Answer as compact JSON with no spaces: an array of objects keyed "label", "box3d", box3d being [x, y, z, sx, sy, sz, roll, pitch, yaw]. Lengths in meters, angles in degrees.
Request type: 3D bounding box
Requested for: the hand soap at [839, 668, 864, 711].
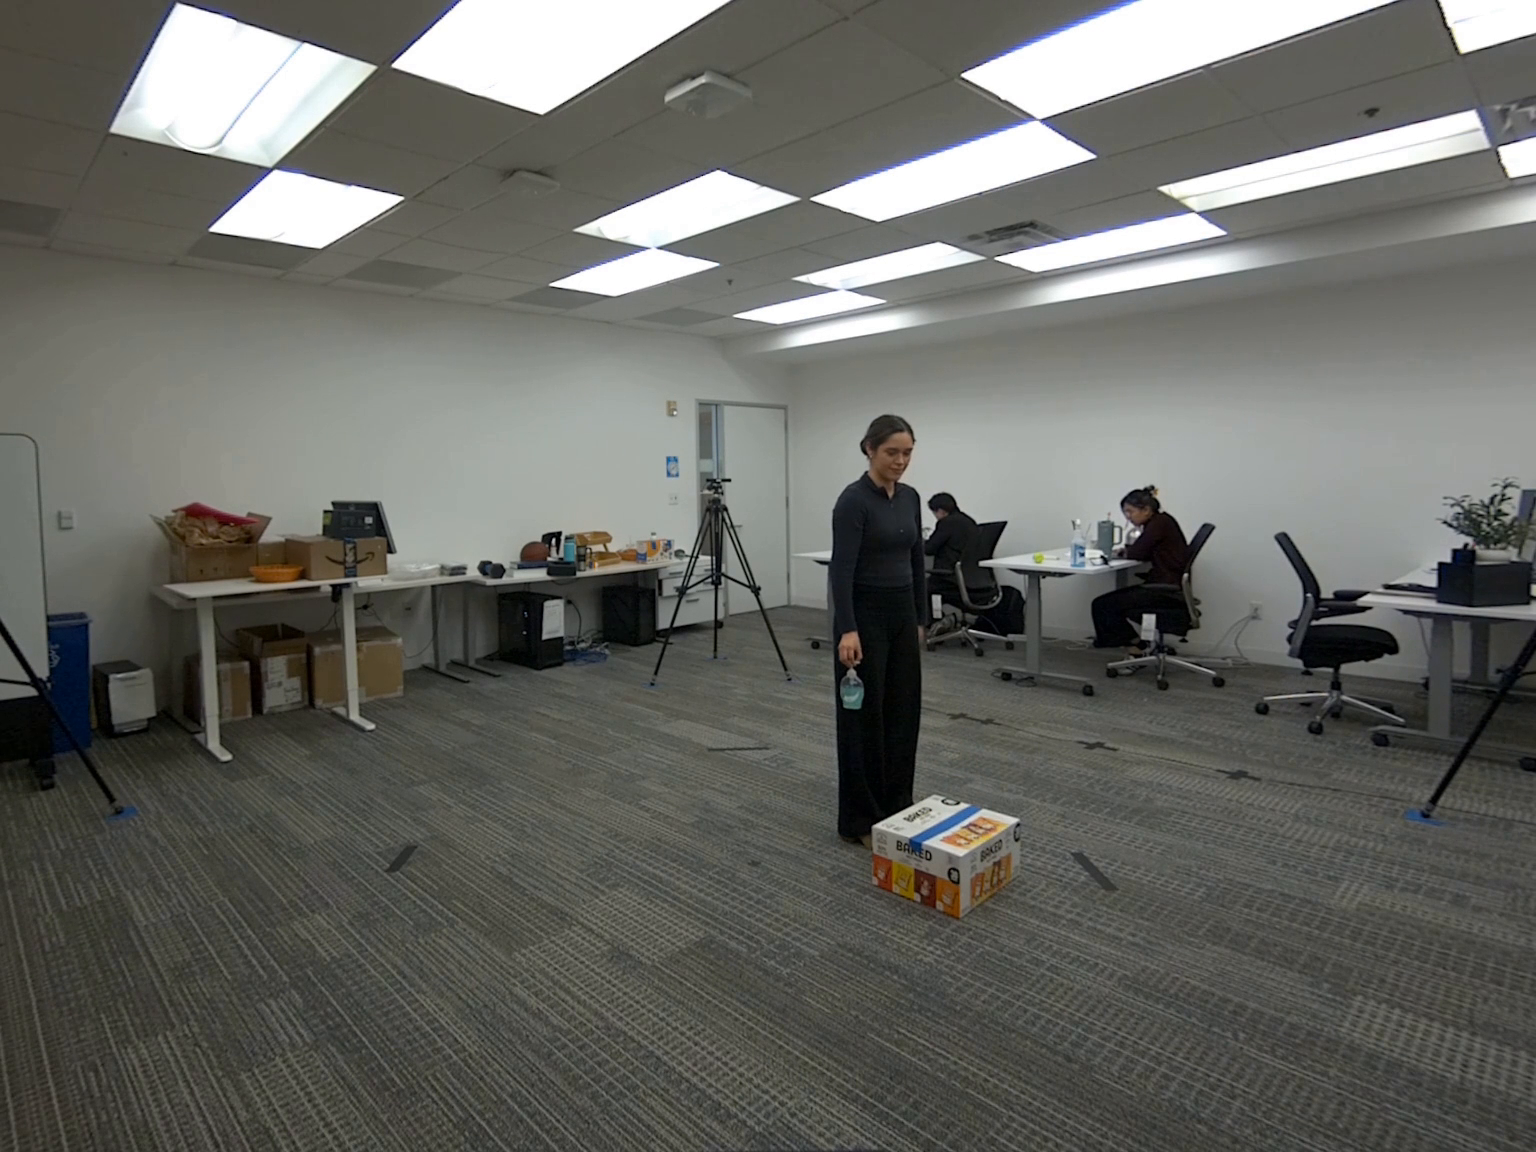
[{"label":"hand soap","box3d":[0.294,0.387,3.043,0.087,0.168,0.042,4,2,29]}]
